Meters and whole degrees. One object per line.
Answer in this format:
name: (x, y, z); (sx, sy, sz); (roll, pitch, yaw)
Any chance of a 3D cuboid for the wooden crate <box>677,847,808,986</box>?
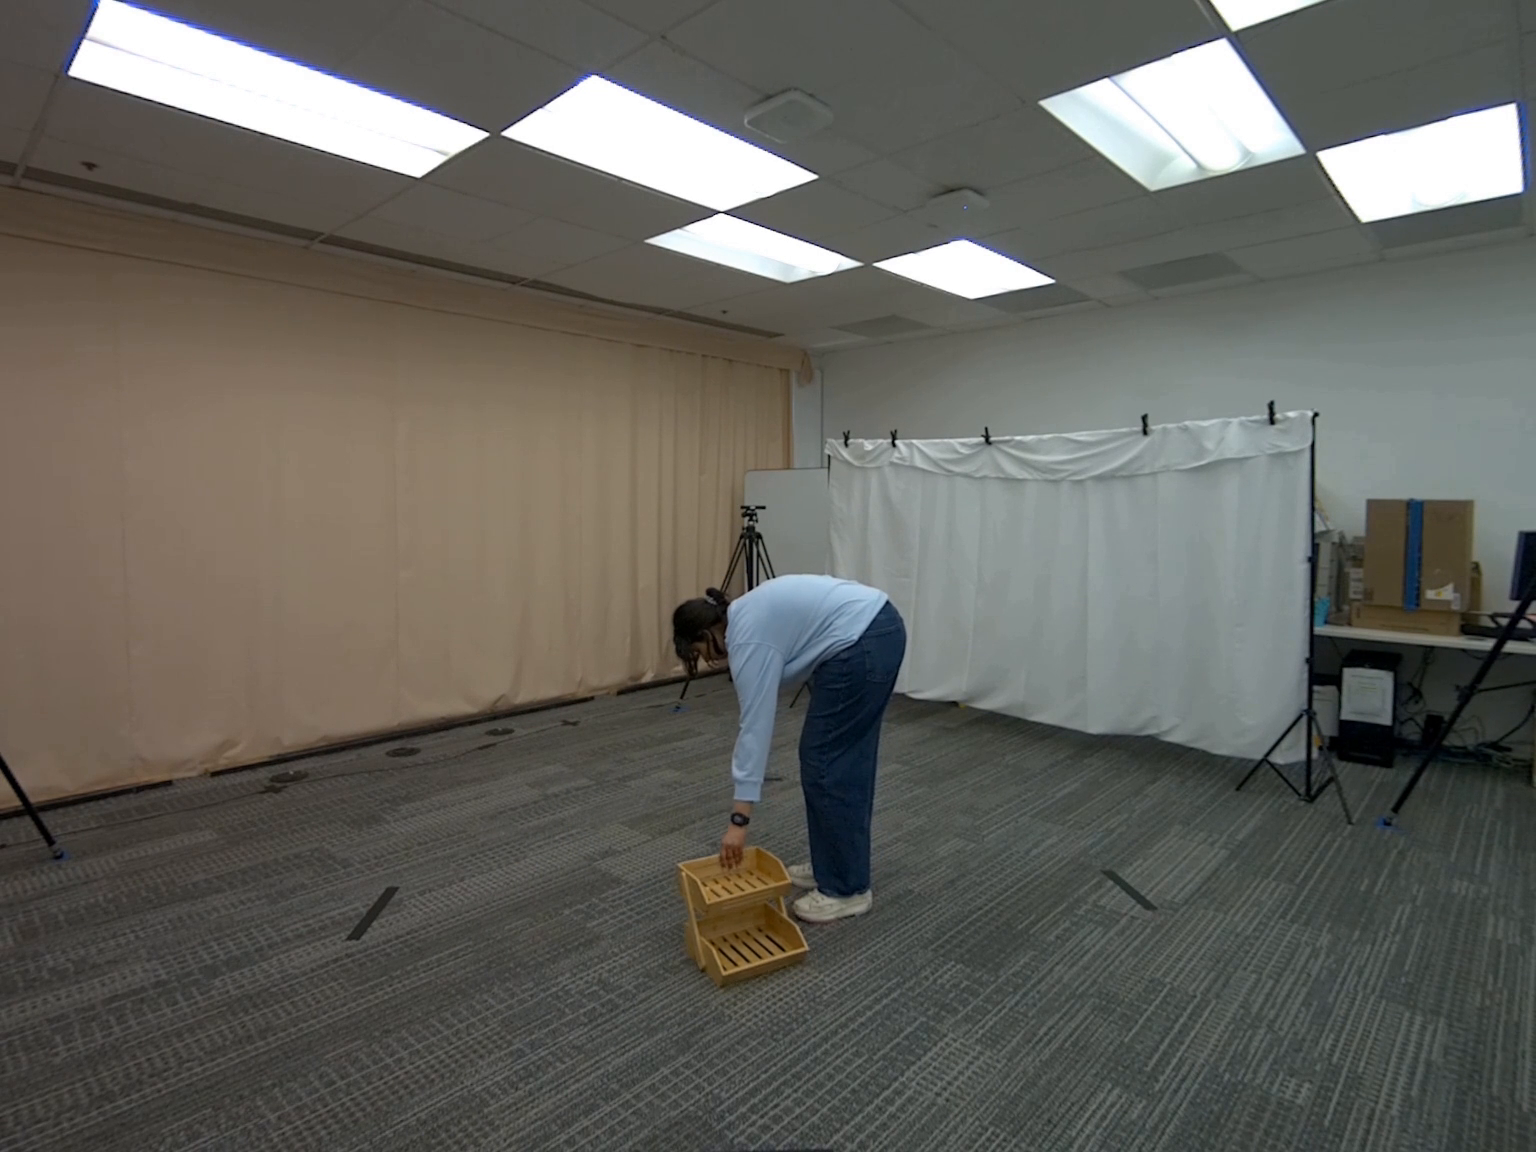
wooden crate: (-0.080, 1.040, 2.611); (0.316, 0.273, 0.311); (-2, 4, -30)
